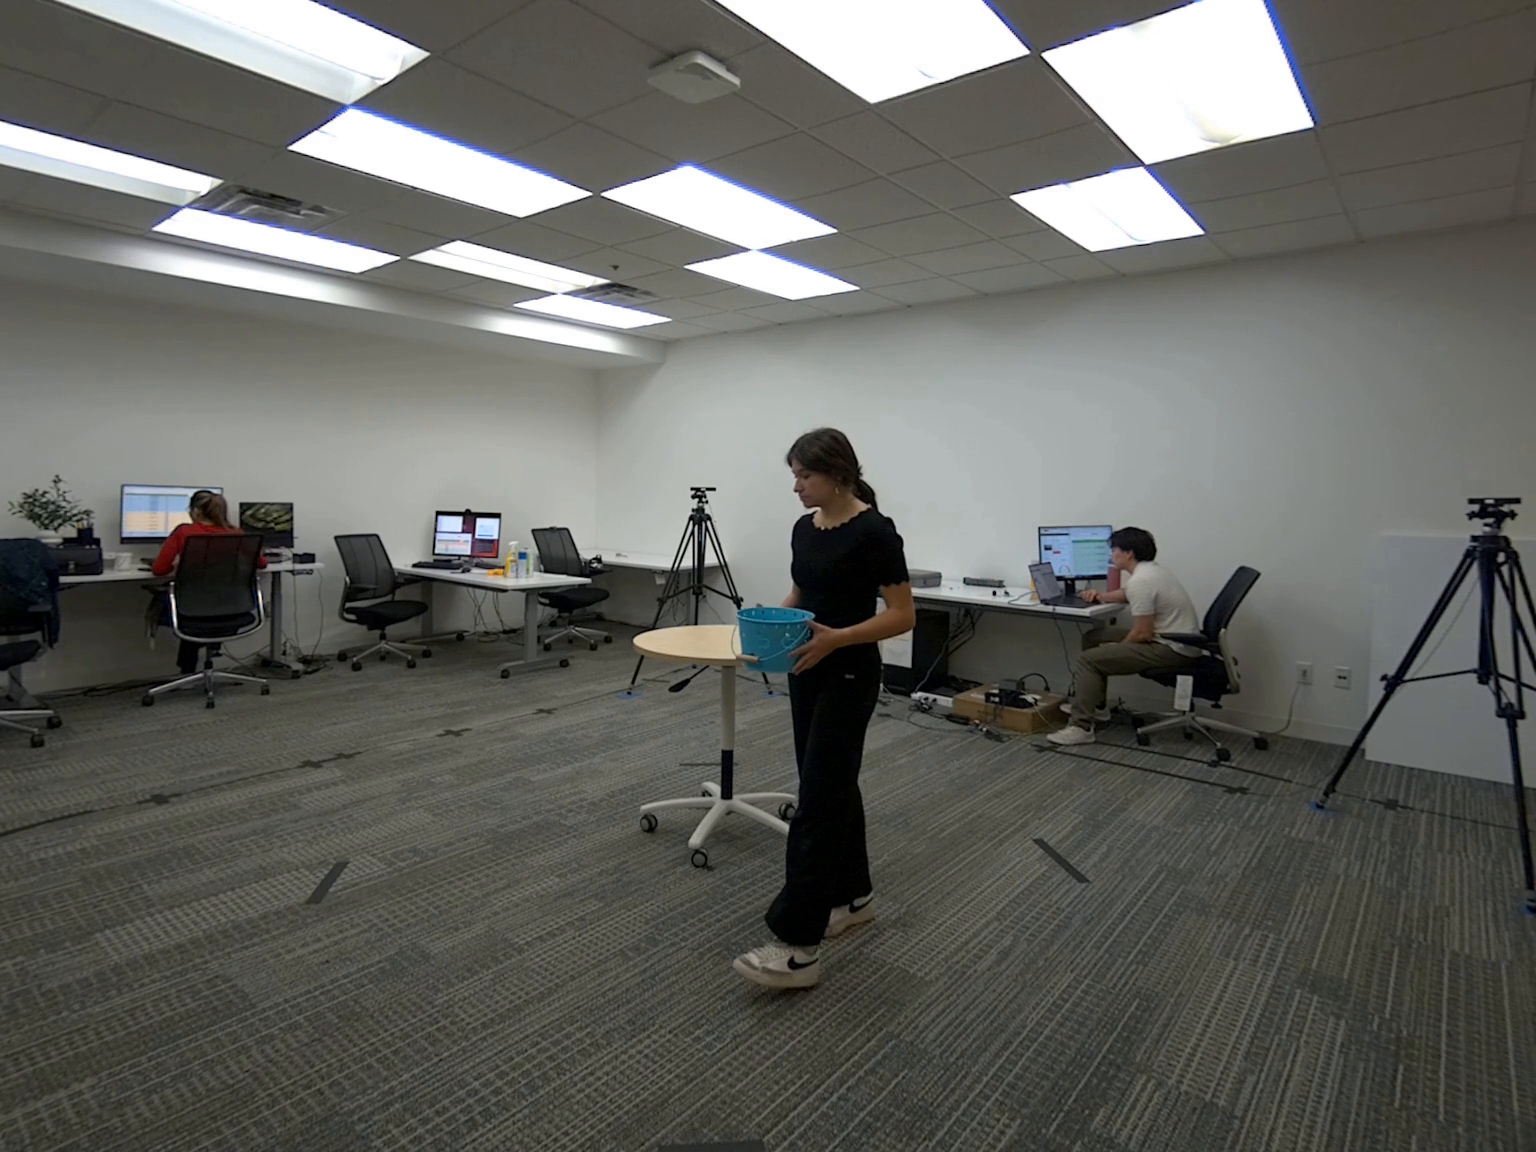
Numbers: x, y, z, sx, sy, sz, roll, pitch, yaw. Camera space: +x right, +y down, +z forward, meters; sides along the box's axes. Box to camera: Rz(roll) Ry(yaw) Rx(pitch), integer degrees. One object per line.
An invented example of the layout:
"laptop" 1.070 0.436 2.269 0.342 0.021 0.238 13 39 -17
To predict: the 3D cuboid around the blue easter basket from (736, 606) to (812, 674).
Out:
"blue easter basket" 0.010 0.183 2.474 0.243 0.155 0.245 2 6 -2
